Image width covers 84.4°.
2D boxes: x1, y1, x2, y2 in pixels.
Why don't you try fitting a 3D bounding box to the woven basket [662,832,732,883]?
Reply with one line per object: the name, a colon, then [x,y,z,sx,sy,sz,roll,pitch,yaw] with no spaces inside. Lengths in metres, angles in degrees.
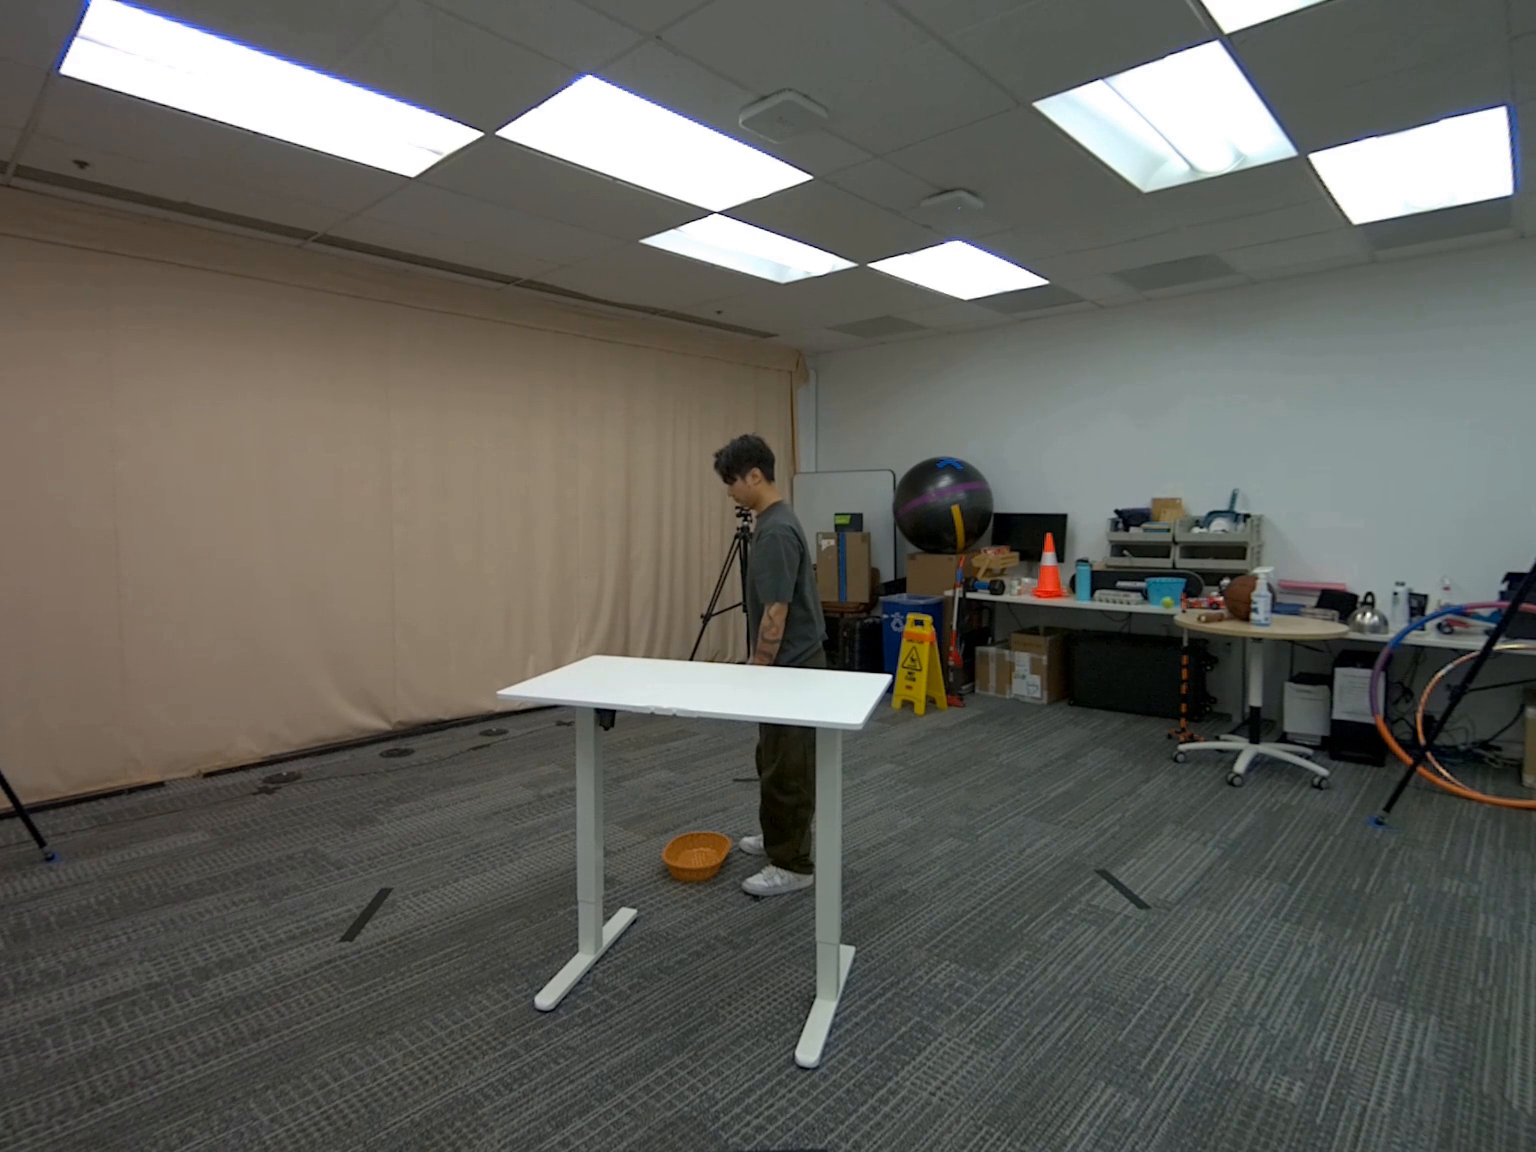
woven basket: [-0.275,1.088,3.261,0.257,0.073,0.345,0,5,14]
